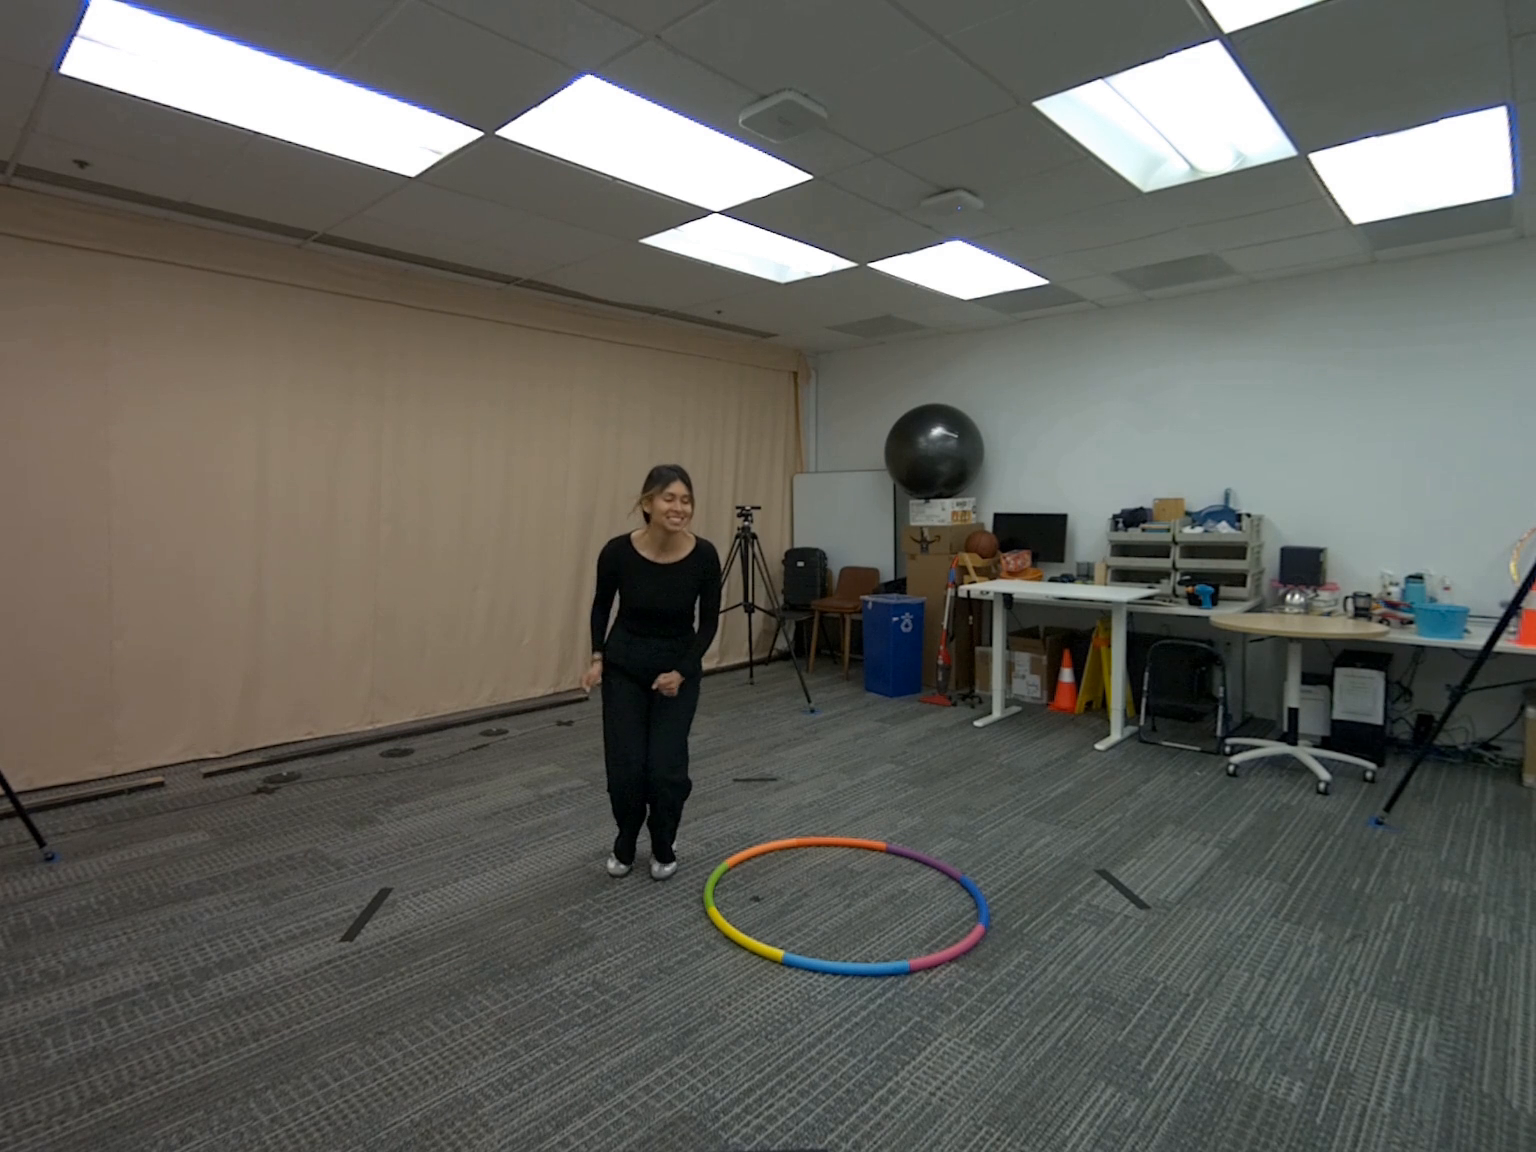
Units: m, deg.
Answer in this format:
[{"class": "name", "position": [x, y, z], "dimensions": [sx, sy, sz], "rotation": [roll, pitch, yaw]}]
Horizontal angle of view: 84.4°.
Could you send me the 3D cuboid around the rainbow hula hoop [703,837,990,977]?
[{"class": "rainbow hula hoop", "position": [0.265, 1.115, 2.971], "dimensions": [0.978, 0.035, 0.982], "rotation": [0, 5, -2]}]
